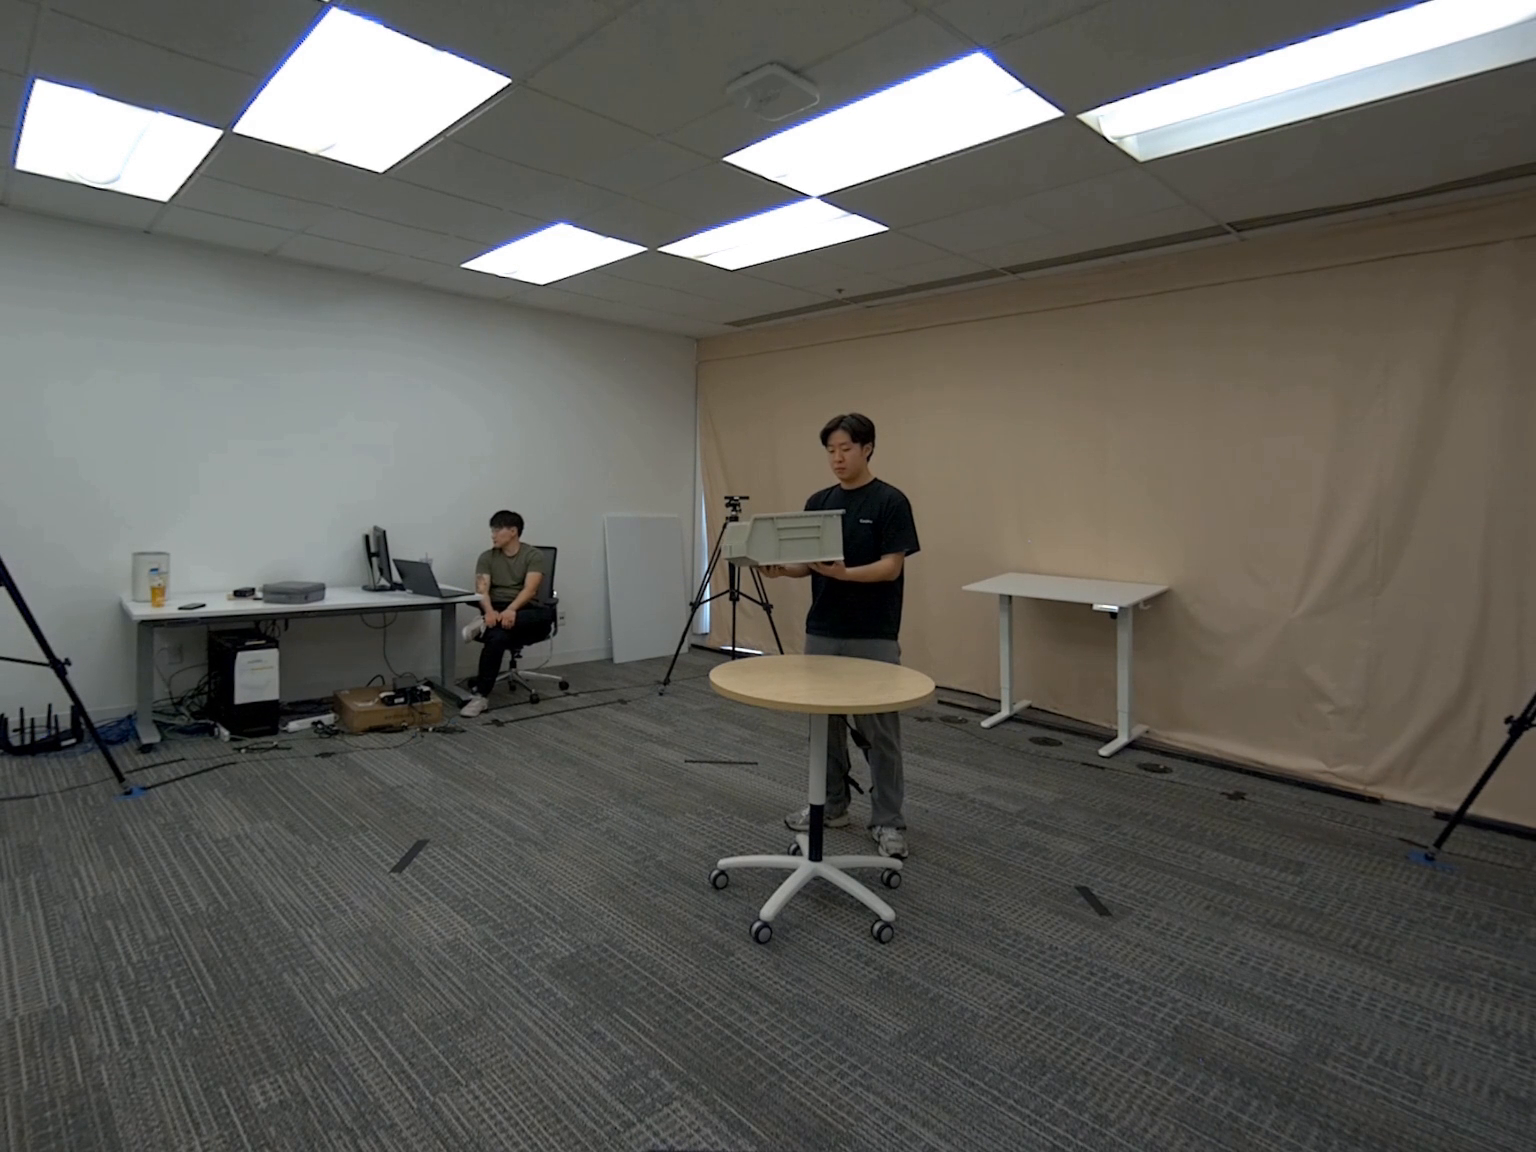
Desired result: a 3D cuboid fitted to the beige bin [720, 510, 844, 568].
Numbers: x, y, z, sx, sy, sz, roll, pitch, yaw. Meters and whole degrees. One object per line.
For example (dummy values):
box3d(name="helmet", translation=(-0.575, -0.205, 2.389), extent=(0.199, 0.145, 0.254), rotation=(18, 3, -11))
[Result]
box3d(name="beige bin", translation=(0.046, -0.132, 3.177), extent=(0.373, 0.189, 0.426), rotation=(-3, 0, -14))
